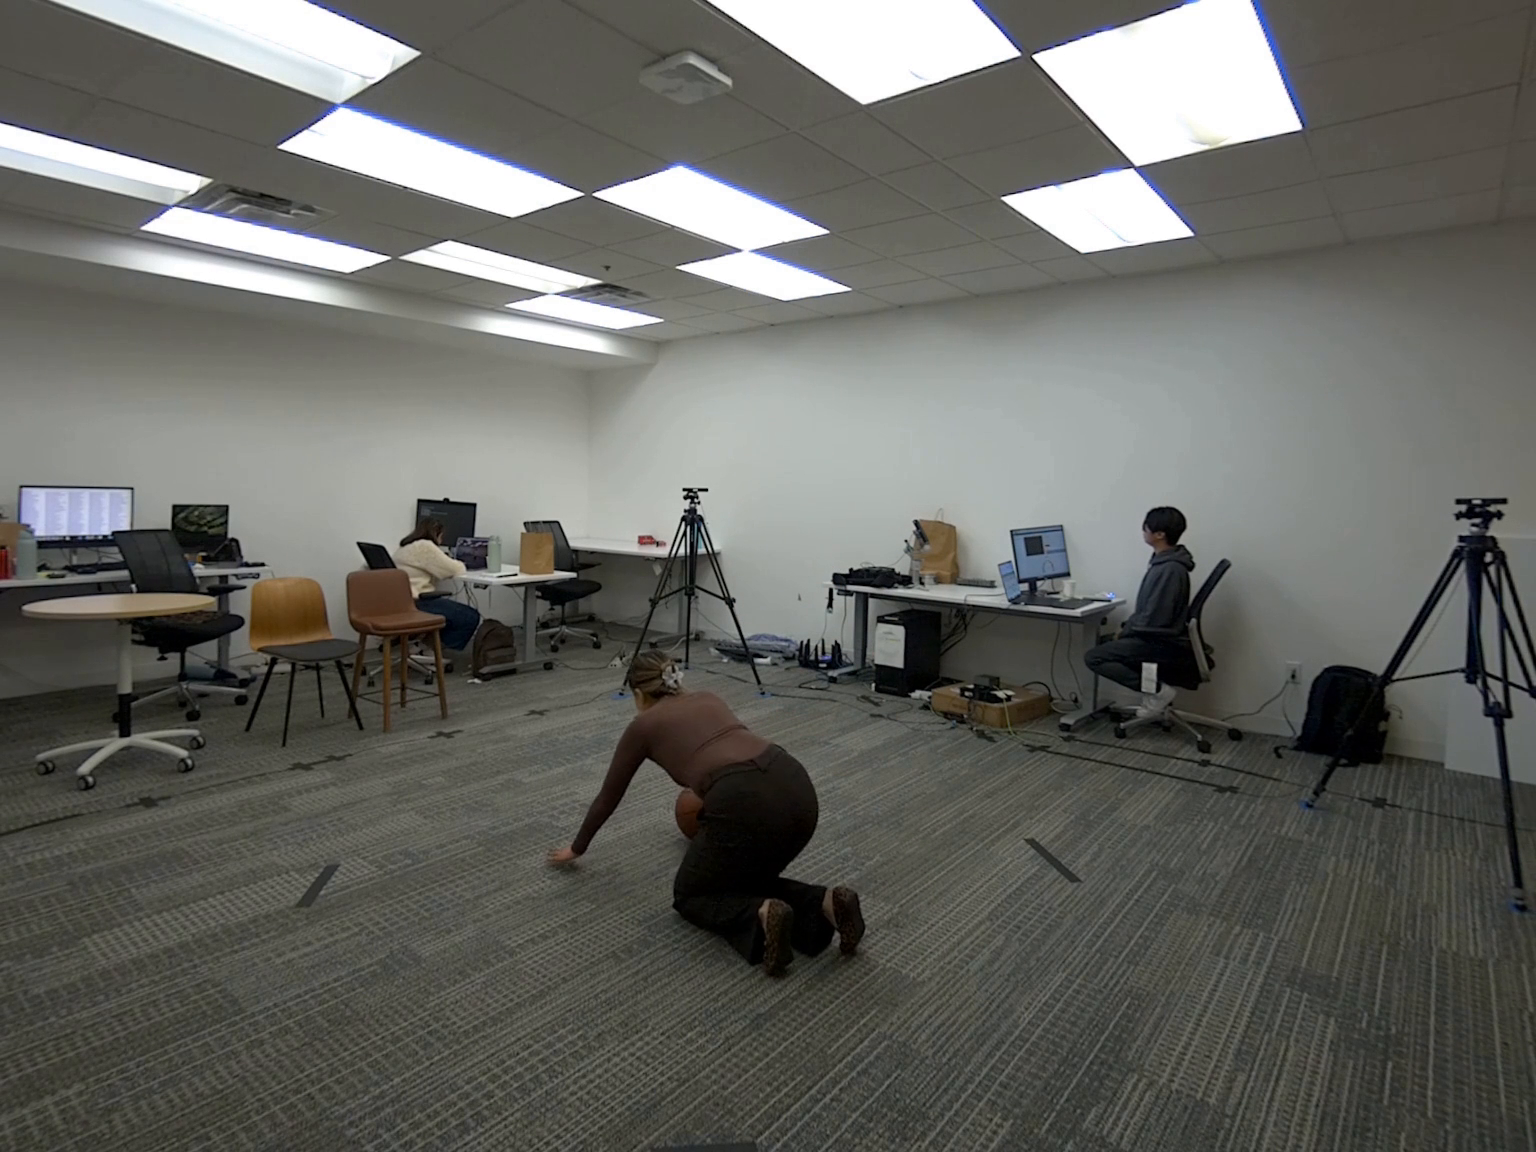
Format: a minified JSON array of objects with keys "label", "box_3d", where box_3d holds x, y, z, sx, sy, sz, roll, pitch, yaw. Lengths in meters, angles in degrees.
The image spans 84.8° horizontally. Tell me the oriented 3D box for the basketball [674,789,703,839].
[{"label":"basketball","box_3d":[-0.262,0.919,3.357,0.236,0.235,0.237,1,4,-2]}]
